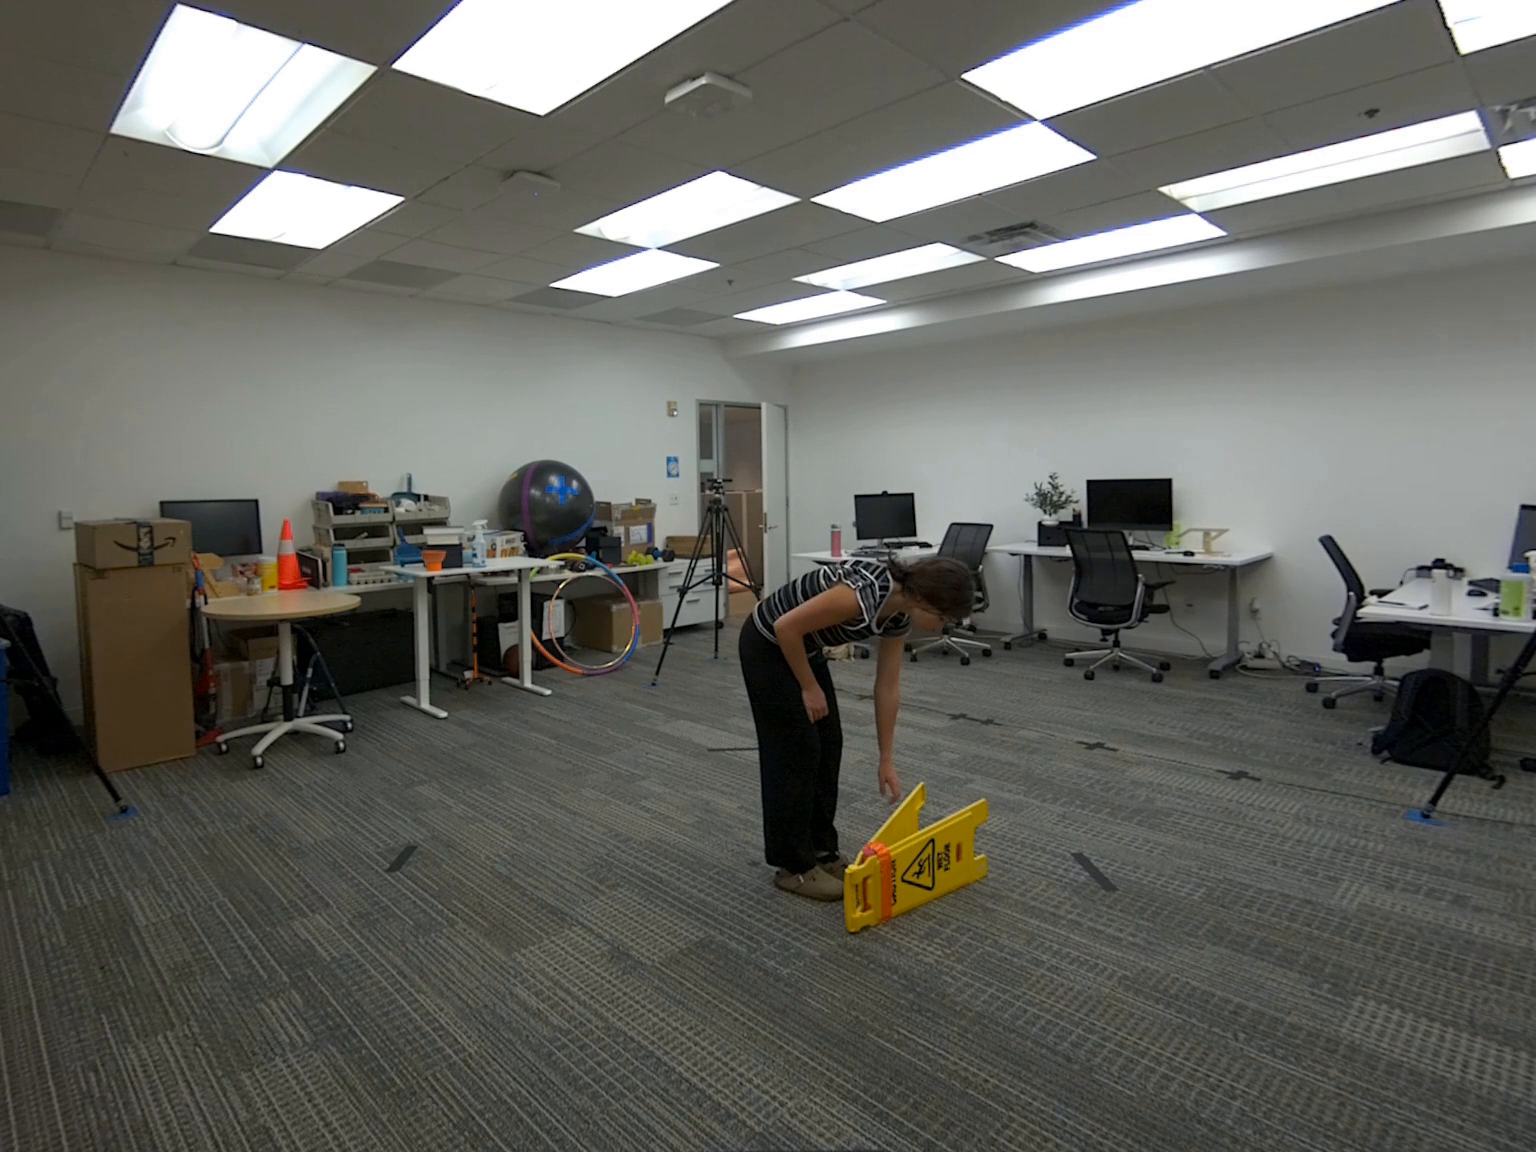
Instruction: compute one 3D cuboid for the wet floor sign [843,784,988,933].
[{"bbox_3d":[0.461,0.945,2.820,0.299,0.280,0.631,5,11,41],"label":"wet floor sign"}]
